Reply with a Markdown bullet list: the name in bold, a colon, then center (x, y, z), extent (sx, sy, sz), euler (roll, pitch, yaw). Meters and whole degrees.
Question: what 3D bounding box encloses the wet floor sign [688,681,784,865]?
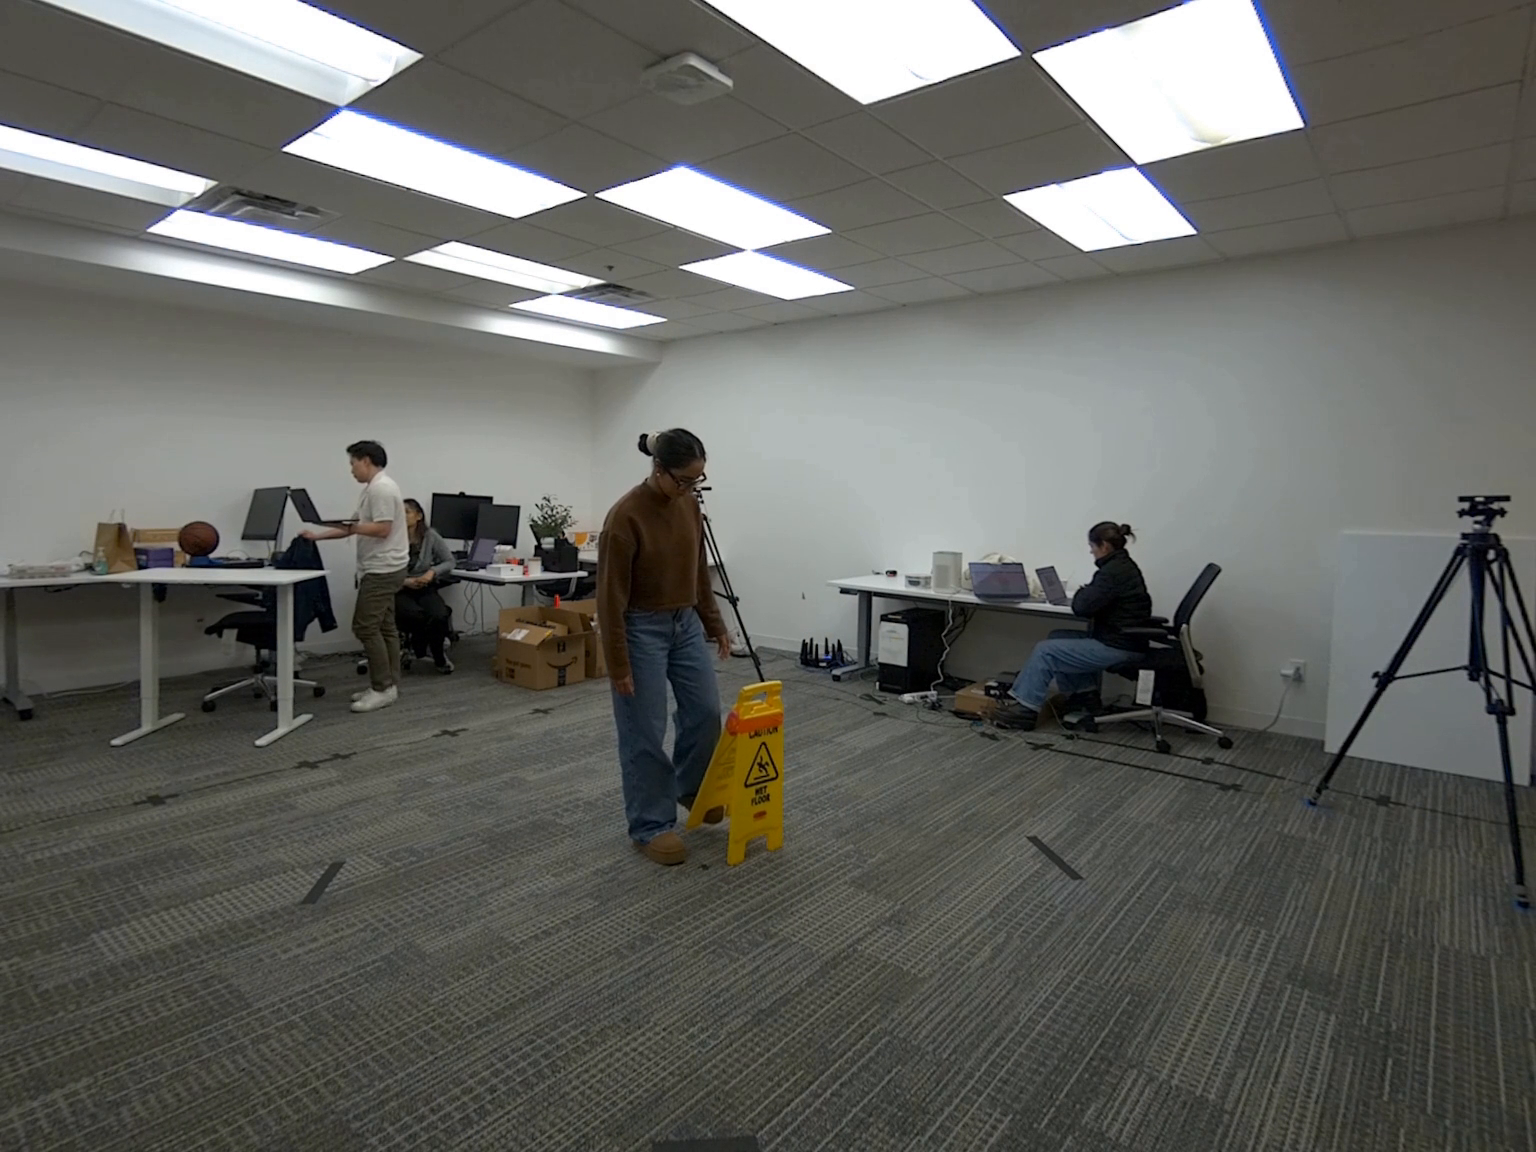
- **wet floor sign**: center (-0.086, 0.714, 3.245), extent (0.274, 0.640, 0.302), euler (-2, 18, -42)
